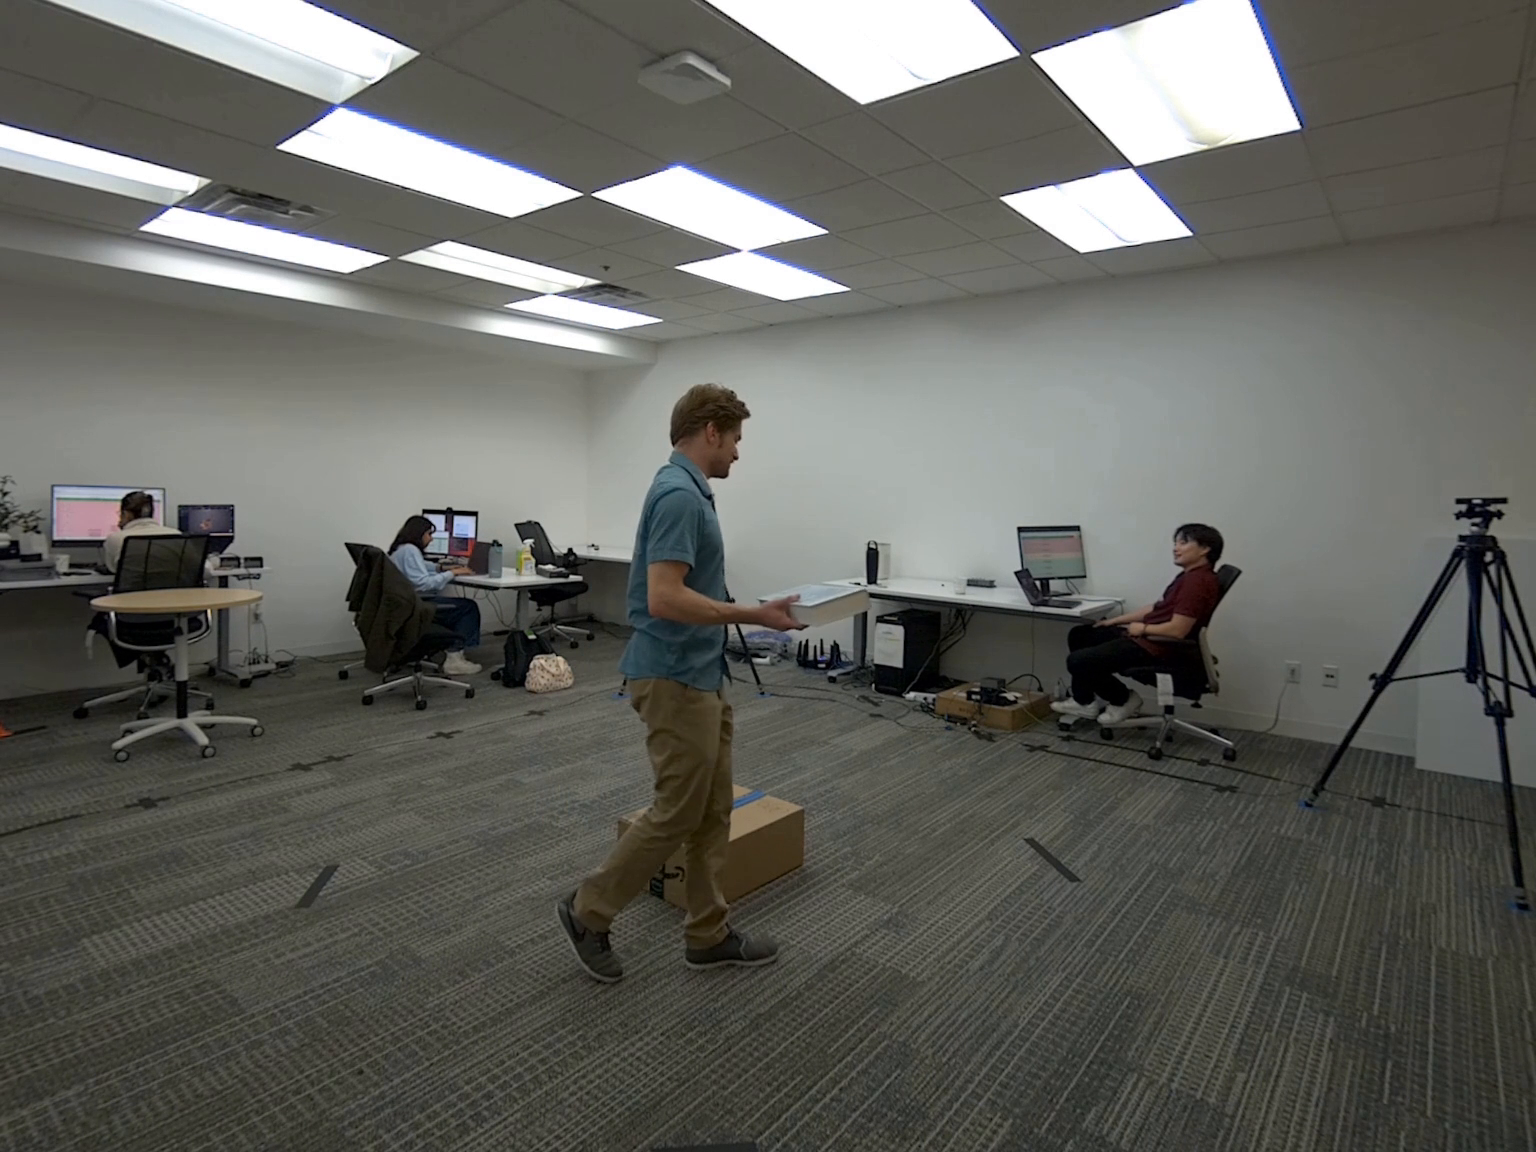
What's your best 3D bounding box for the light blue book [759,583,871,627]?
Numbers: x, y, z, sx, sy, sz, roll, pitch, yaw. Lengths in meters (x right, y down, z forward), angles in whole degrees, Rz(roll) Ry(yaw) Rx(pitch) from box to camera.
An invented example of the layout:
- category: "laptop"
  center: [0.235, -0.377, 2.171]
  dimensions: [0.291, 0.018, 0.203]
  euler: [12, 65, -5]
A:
- category: "light blue book"
  center: [0.110, 0.070, 2.326]
  dimensions: [0.188, 0.058, 0.267]
  euler: [-12, 8, -22]
